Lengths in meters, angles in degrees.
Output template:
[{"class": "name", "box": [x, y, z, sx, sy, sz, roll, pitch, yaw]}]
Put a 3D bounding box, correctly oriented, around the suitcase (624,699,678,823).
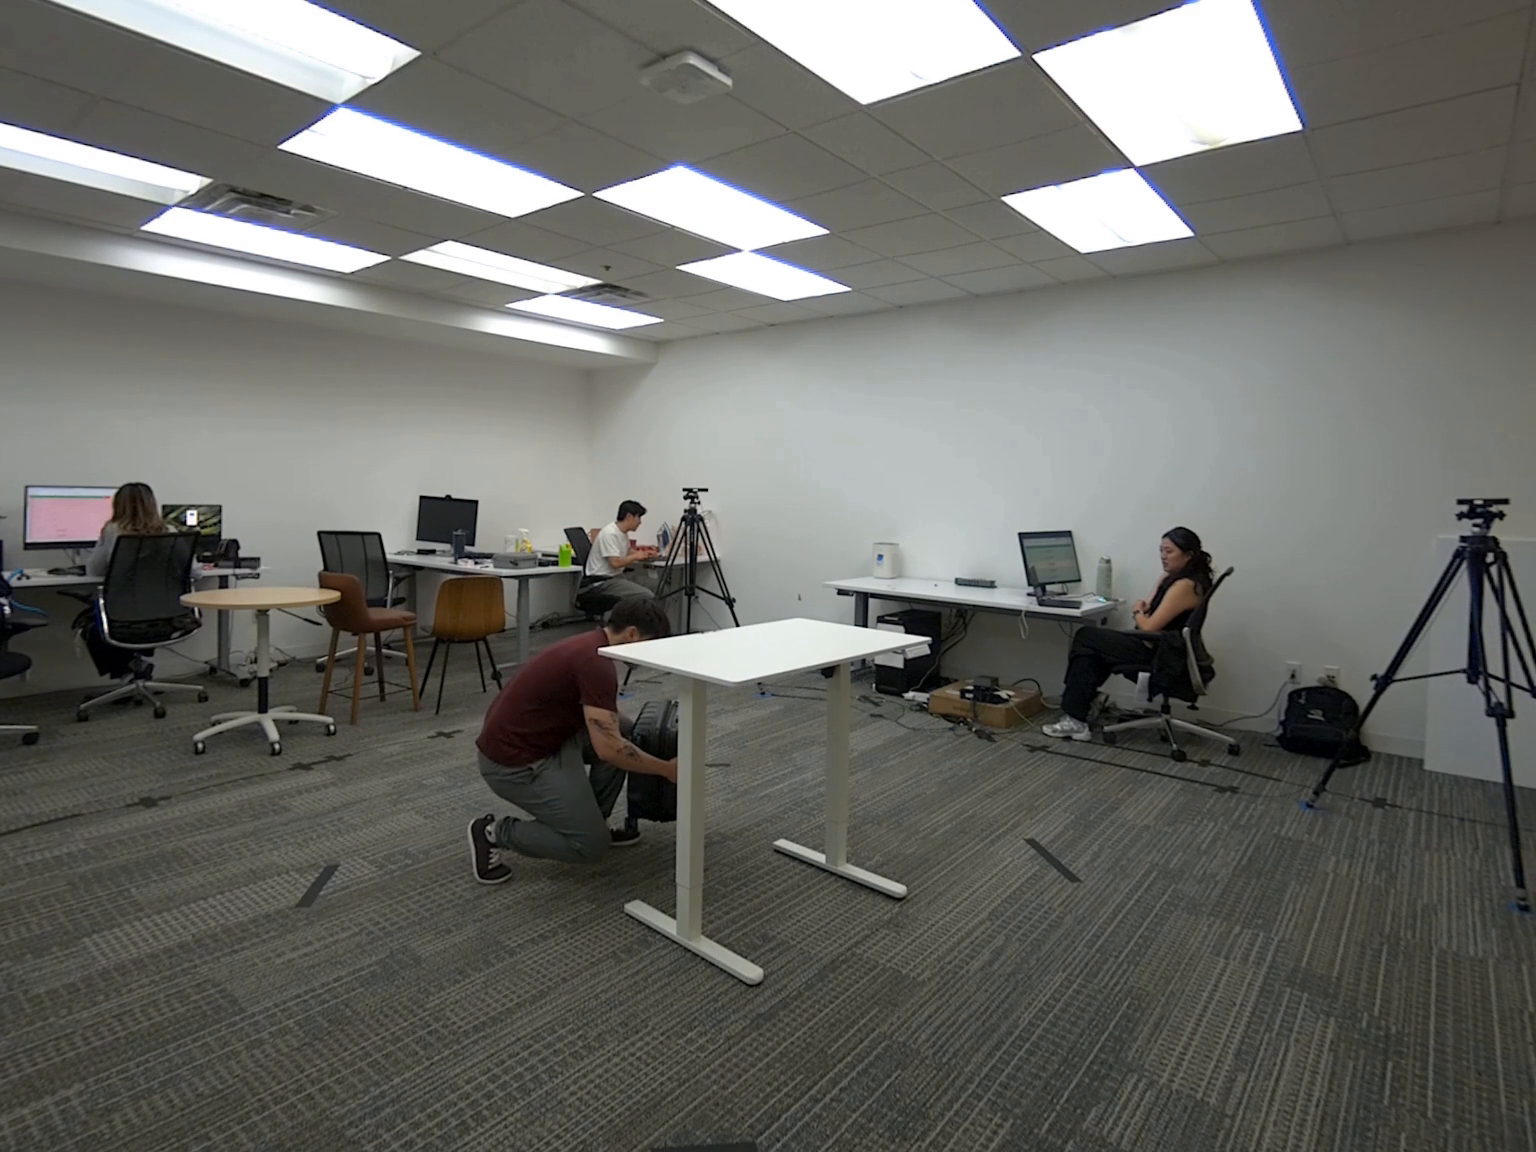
[{"class": "suitcase", "box": [-0.412, 0.678, 3.491, 0.257, 0.382, 0.984, -1, 6, -2]}]
